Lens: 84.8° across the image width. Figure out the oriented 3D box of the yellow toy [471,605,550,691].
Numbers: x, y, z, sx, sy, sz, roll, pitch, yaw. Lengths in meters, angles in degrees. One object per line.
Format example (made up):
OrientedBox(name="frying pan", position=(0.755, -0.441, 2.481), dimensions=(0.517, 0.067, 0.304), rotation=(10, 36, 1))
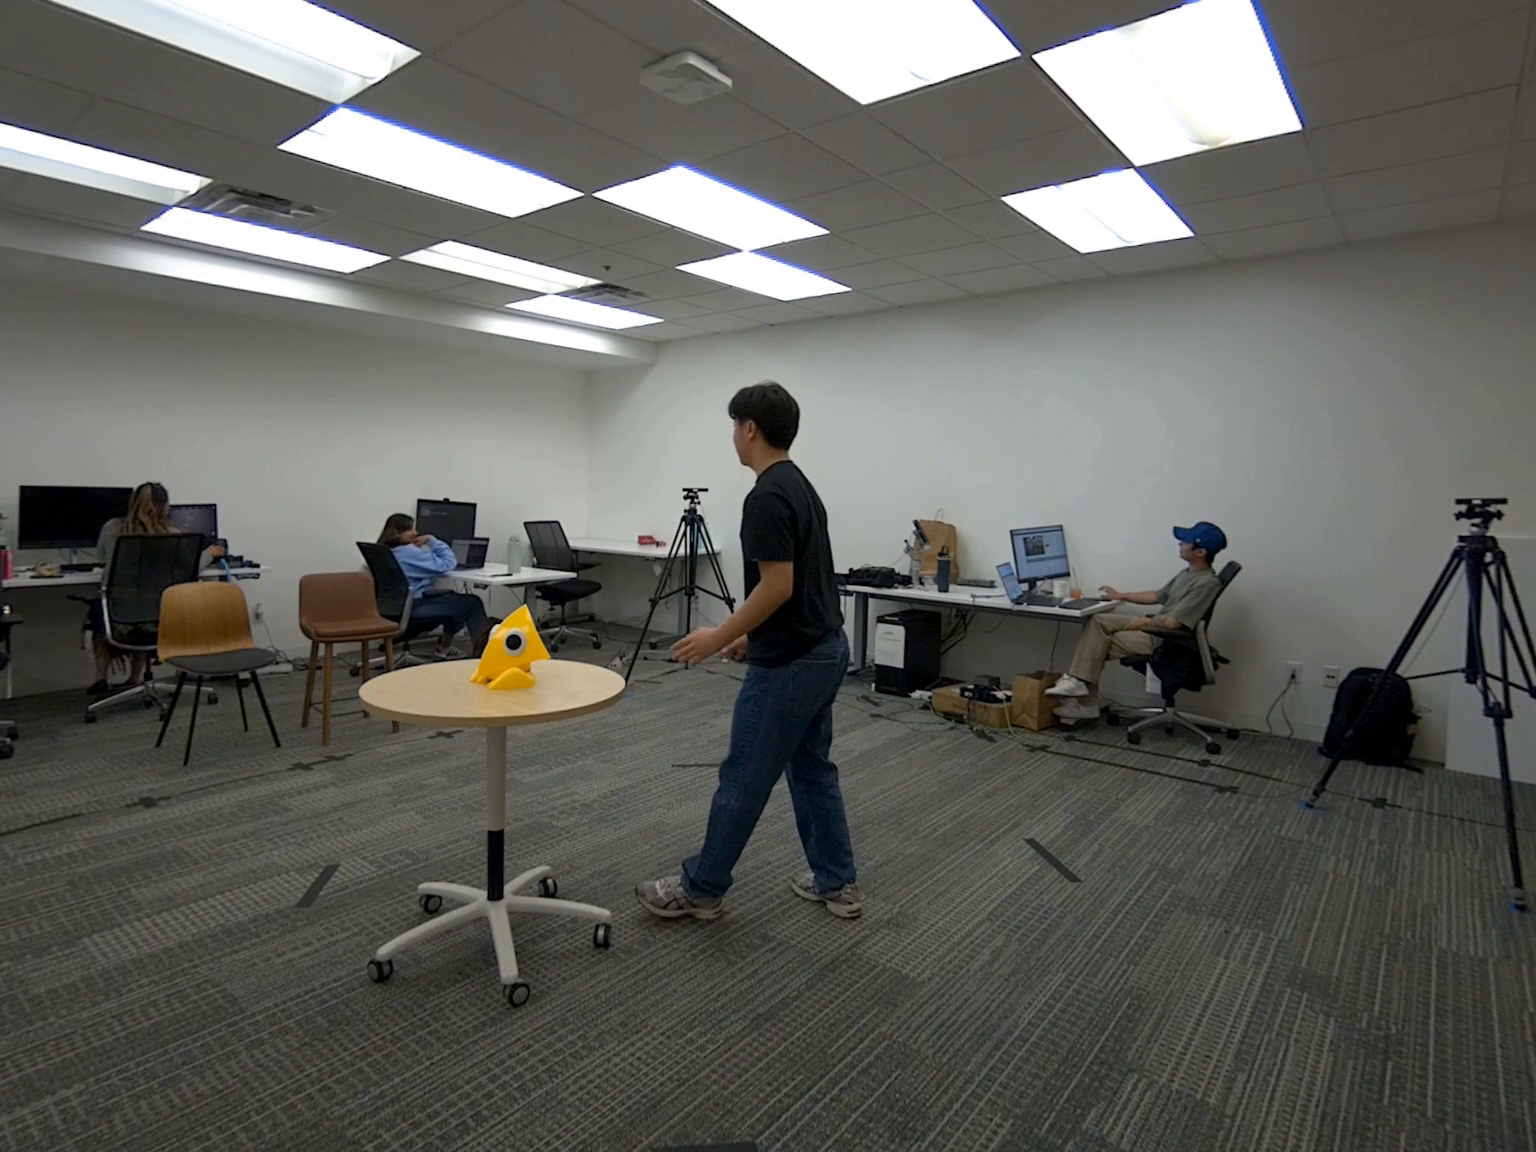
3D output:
OrientedBox(name="yellow toy", position=(-0.800, 0.206, 2.571), dimensions=(0.187, 0.230, 0.212), rotation=(-3, 6, -43))
